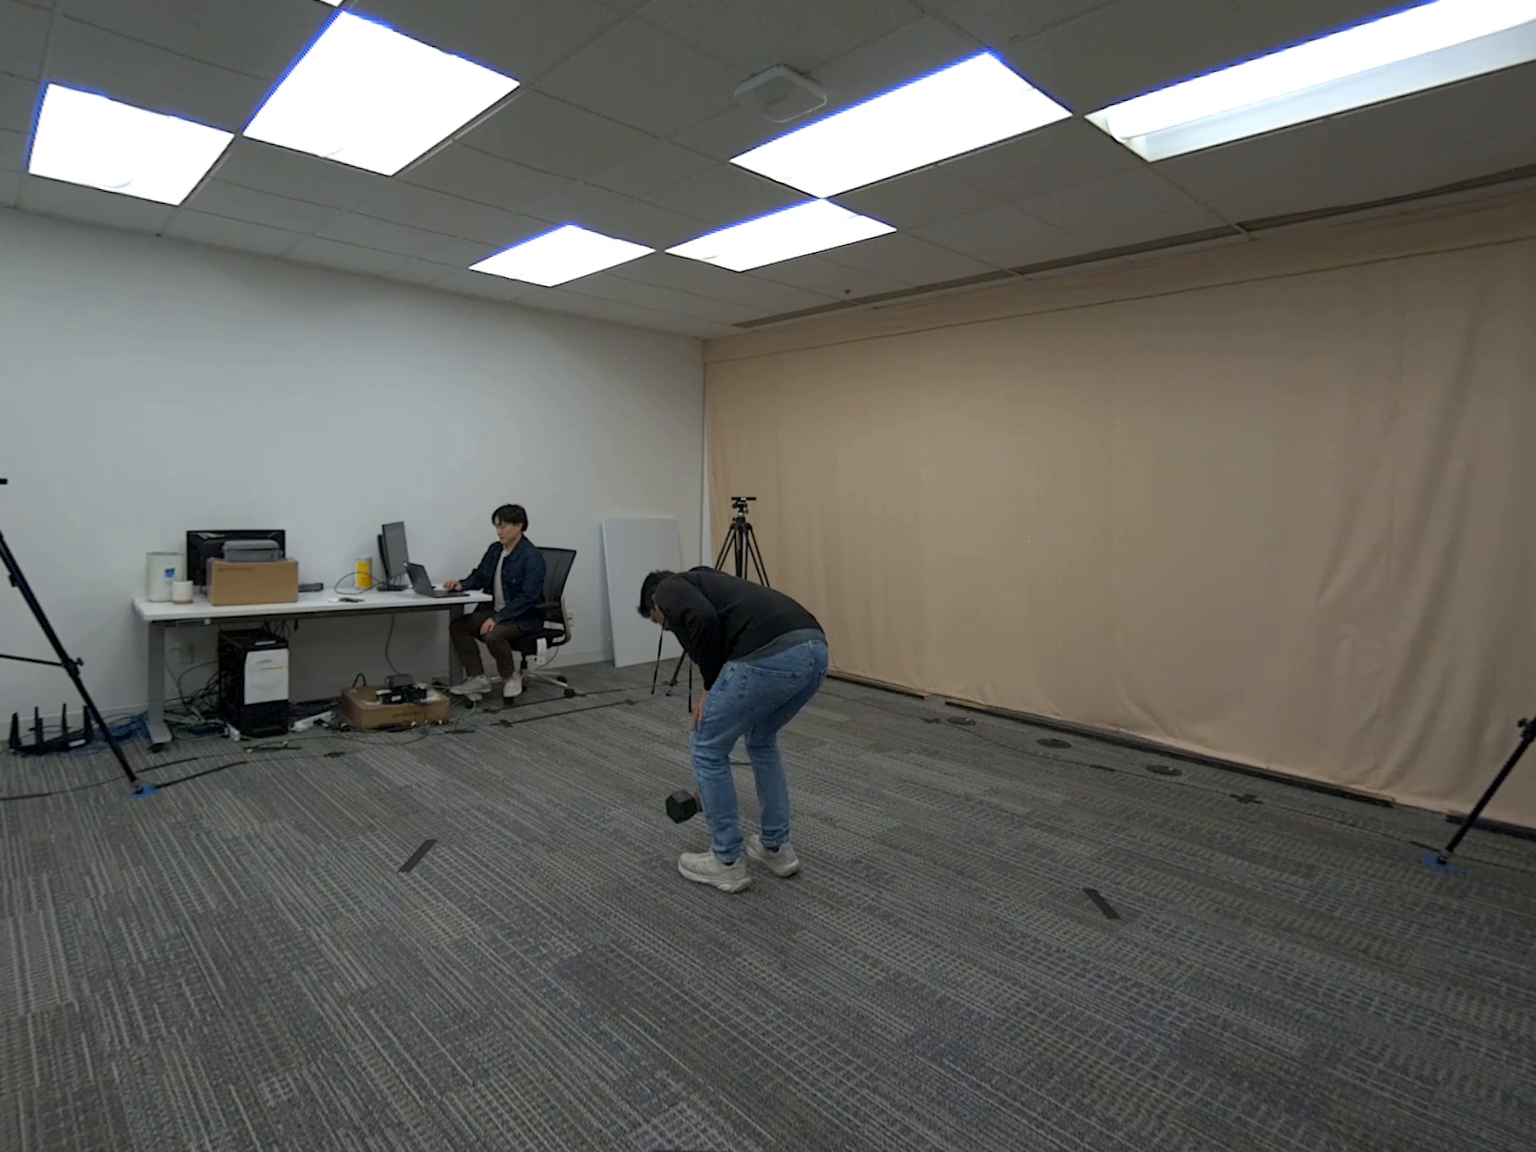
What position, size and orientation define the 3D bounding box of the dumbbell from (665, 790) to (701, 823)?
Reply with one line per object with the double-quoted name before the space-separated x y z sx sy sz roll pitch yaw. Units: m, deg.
"dumbbell" -0.278 0.888 3.375 0.287 0.123 0.111 -5 -3 -45
